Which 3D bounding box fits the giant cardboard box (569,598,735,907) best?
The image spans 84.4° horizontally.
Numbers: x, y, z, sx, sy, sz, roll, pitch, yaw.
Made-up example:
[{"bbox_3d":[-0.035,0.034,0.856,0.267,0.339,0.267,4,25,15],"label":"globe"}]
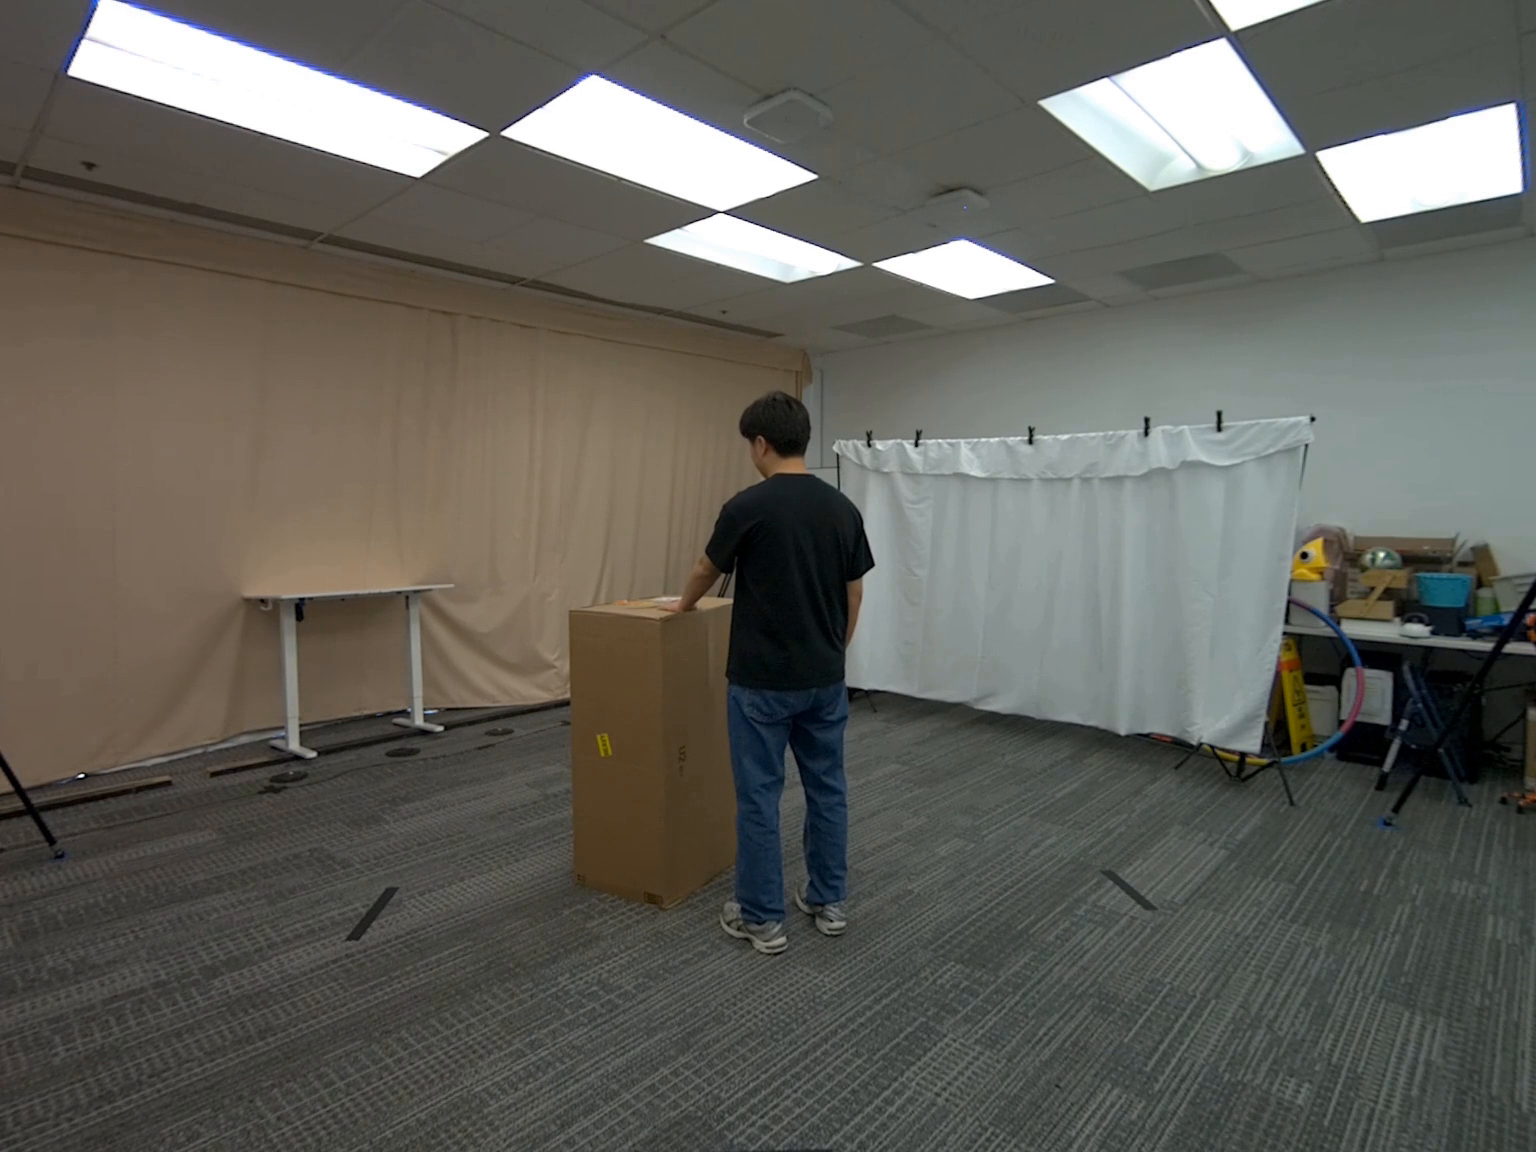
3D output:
[{"bbox_3d":[-0.404,0.614,3.226,0.460,1.025,0.568,1,4,32],"label":"giant cardboard box"}]
